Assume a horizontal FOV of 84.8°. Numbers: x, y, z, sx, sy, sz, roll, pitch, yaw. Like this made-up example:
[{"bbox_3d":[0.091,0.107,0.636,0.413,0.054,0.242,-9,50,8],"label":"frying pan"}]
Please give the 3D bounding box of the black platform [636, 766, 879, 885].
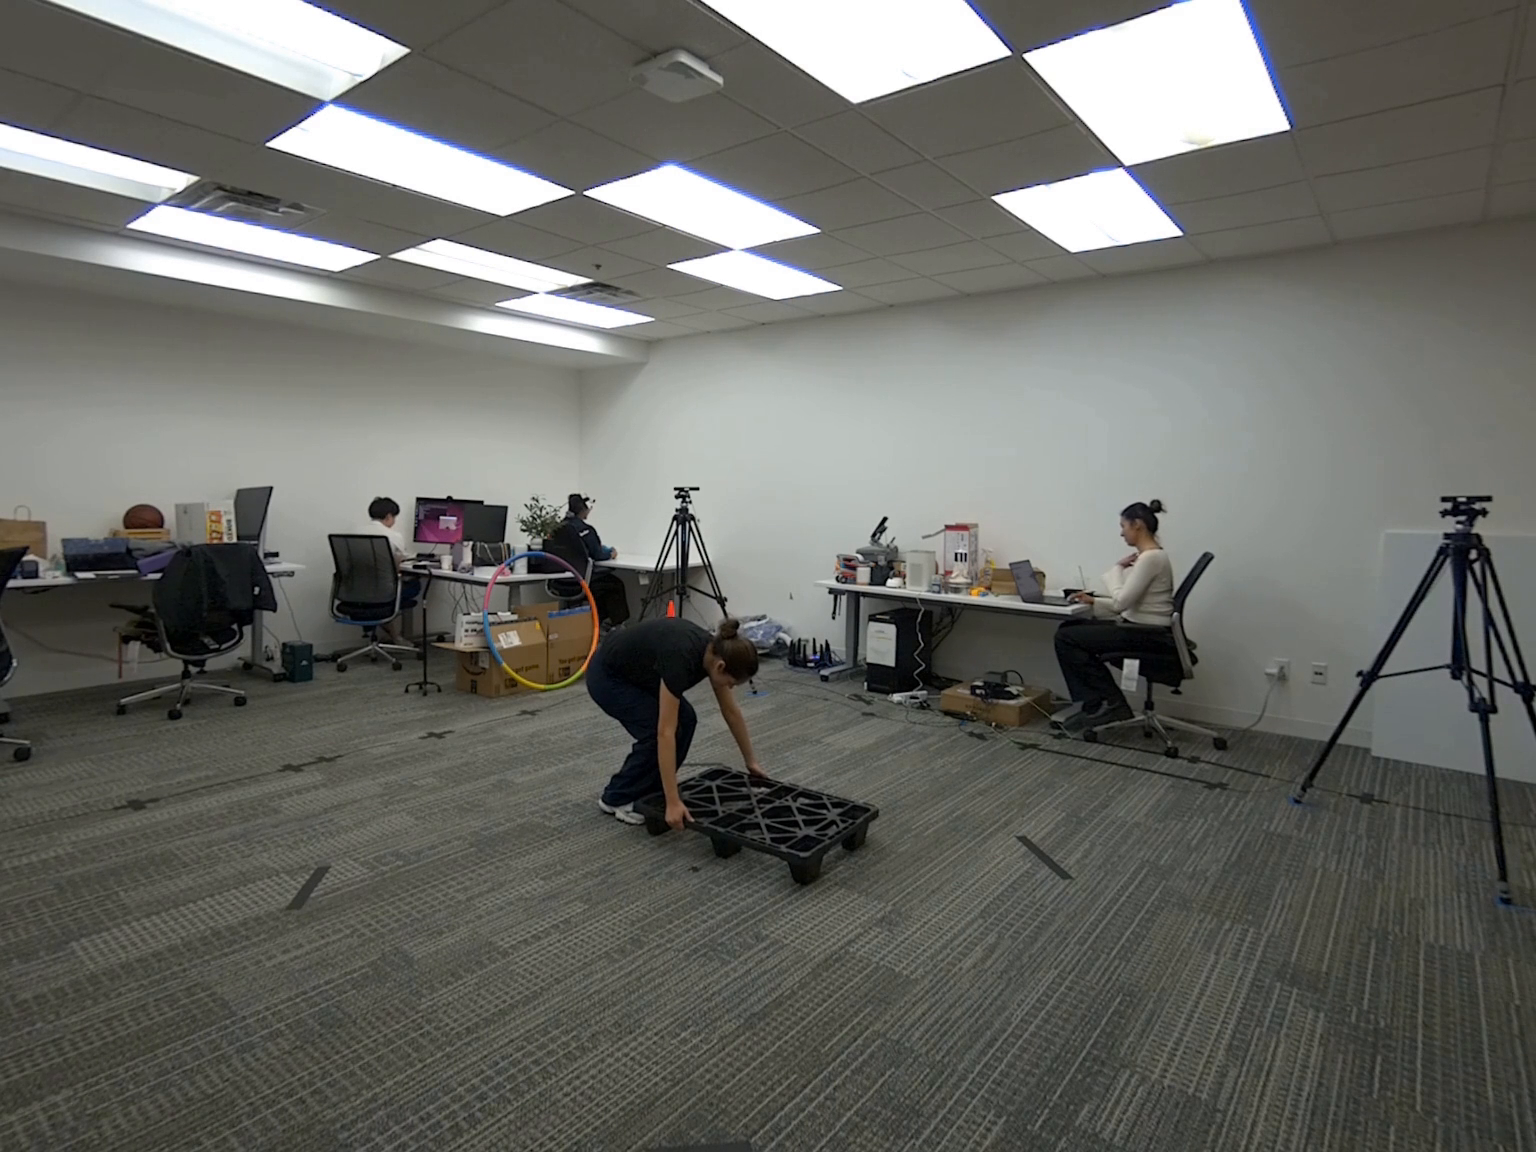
[{"bbox_3d":[-0.034,0.970,3.400,0.832,0.143,0.588,6,6,35],"label":"black platform"}]
